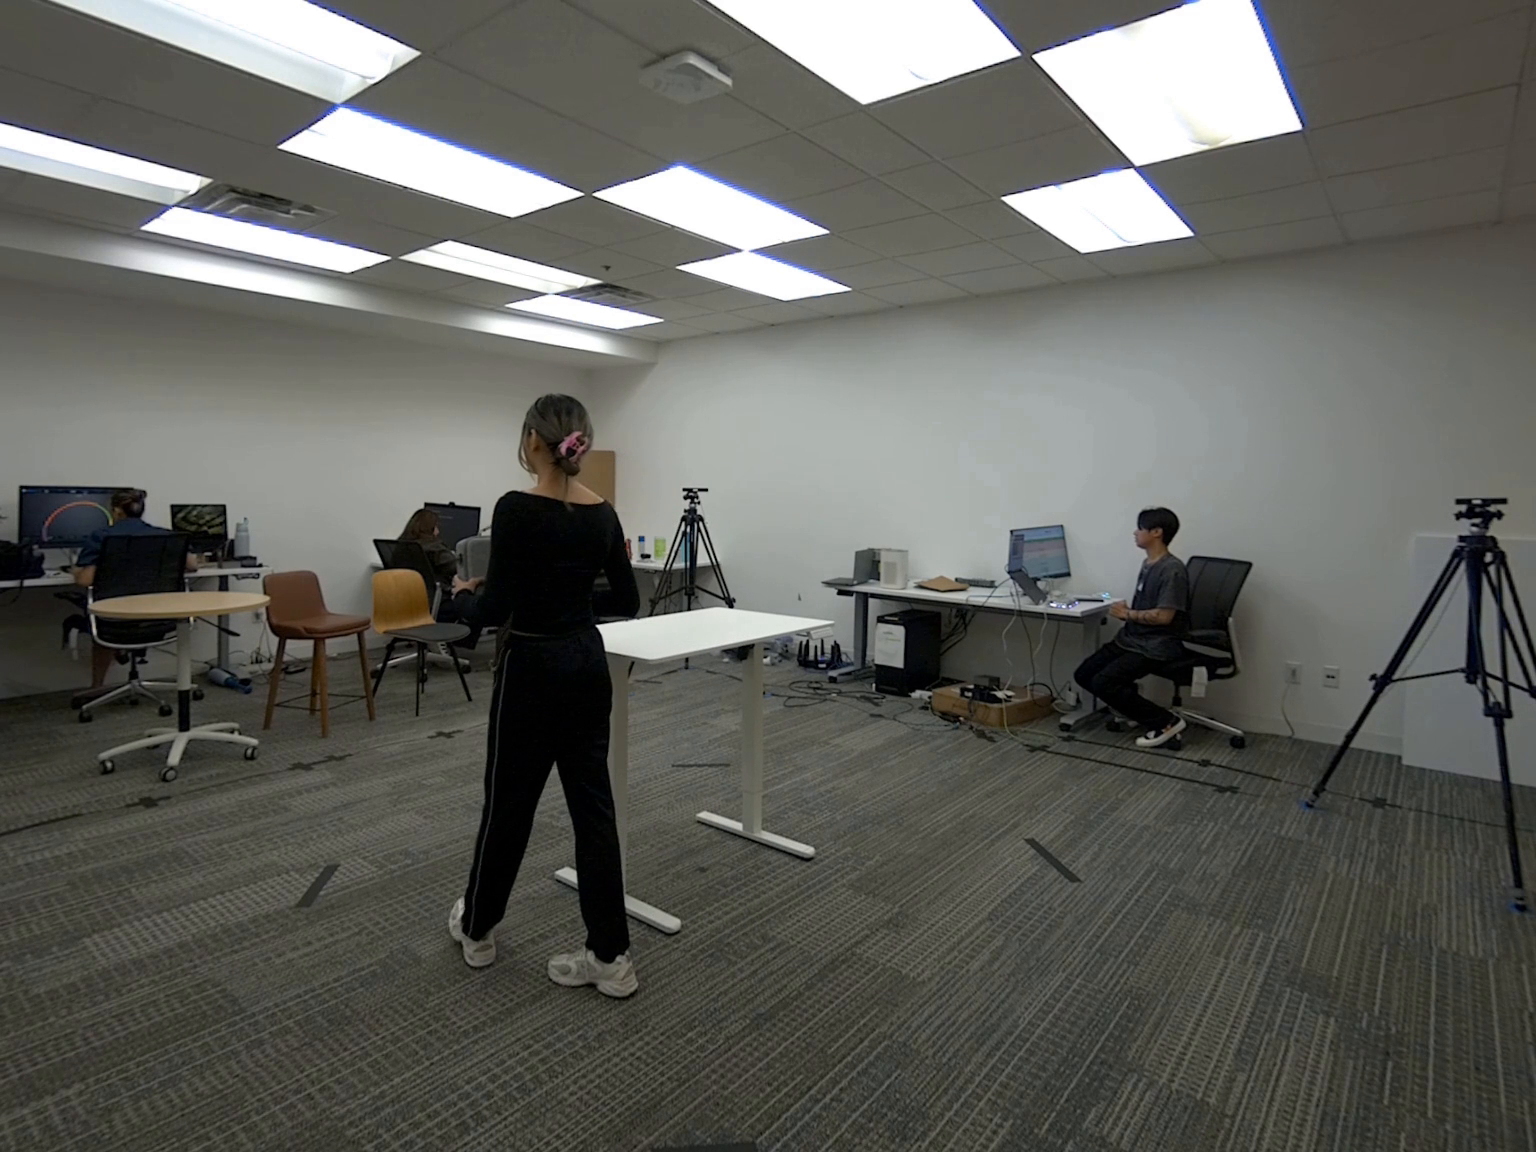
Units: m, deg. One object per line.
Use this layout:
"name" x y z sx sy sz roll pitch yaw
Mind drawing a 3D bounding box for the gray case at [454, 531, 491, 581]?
"gray case" -0.818 0.001 2.556 0.249 0.261 0.107 -3 -4 -44
